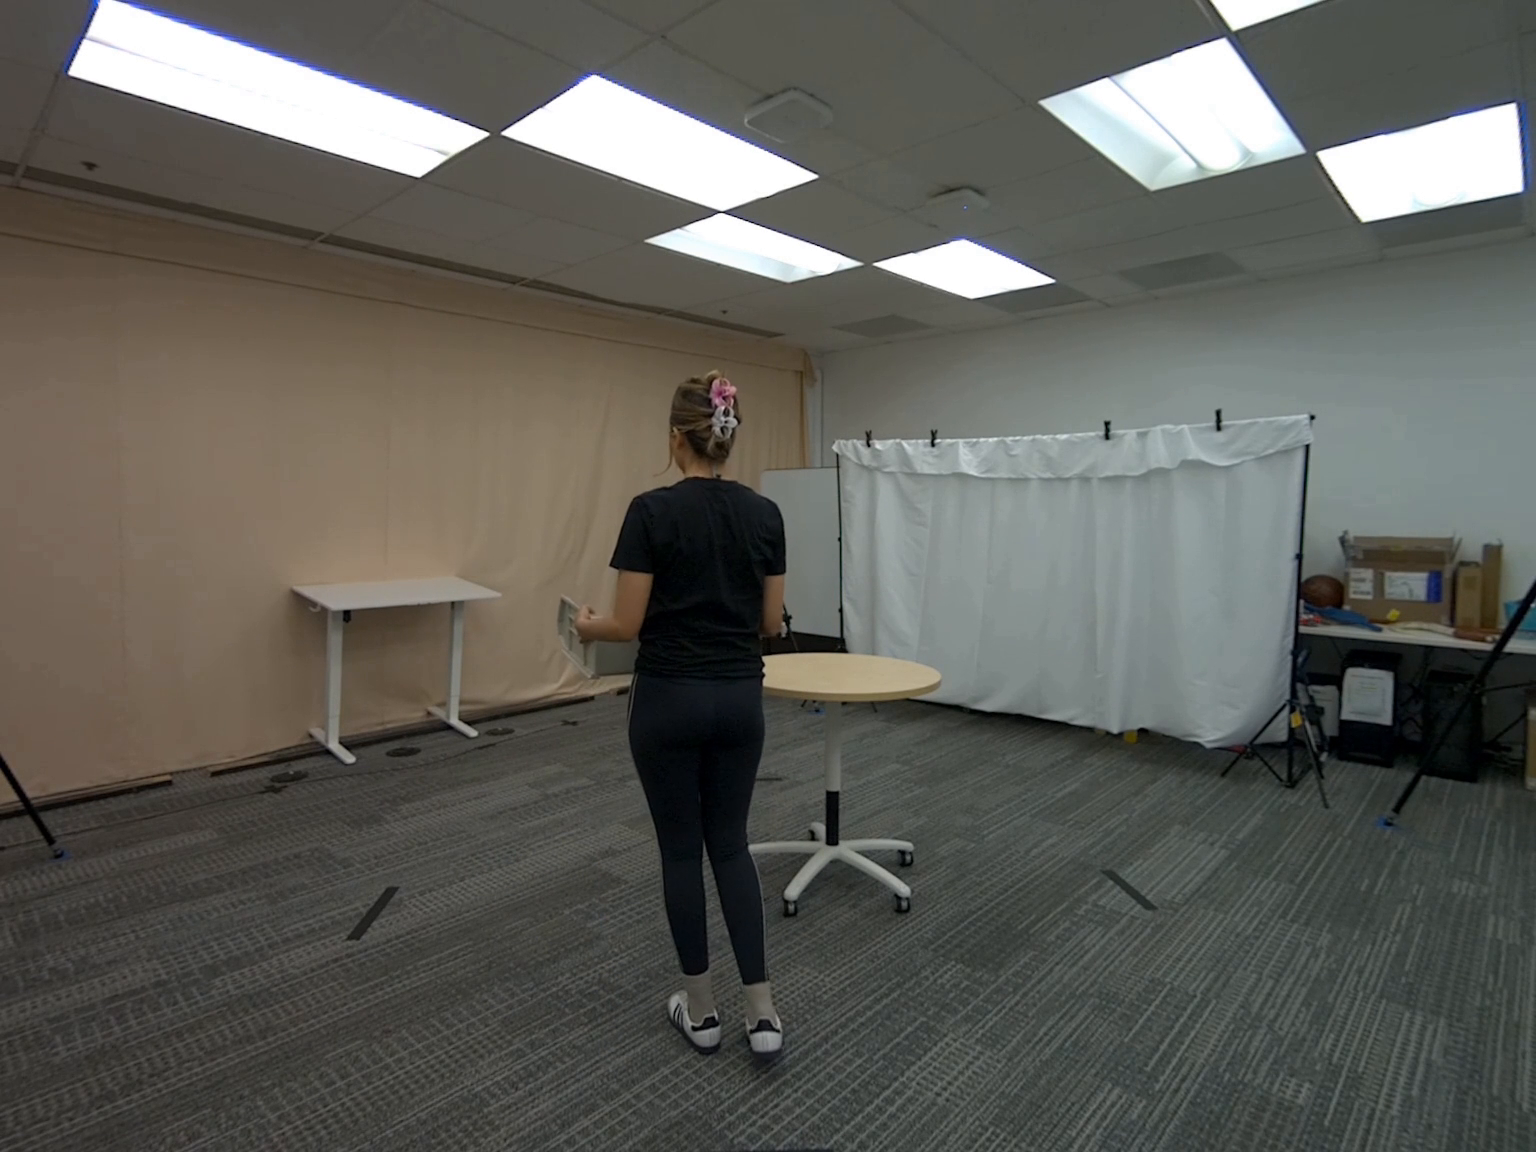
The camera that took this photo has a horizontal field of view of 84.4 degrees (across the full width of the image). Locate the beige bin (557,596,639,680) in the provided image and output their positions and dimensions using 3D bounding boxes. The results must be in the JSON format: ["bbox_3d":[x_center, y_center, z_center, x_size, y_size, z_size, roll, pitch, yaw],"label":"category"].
[{"bbox_3d":[-0.394,0.173,2.579,0.412,0.188,0.389,-1,10,-27],"label":"beige bin"}]
